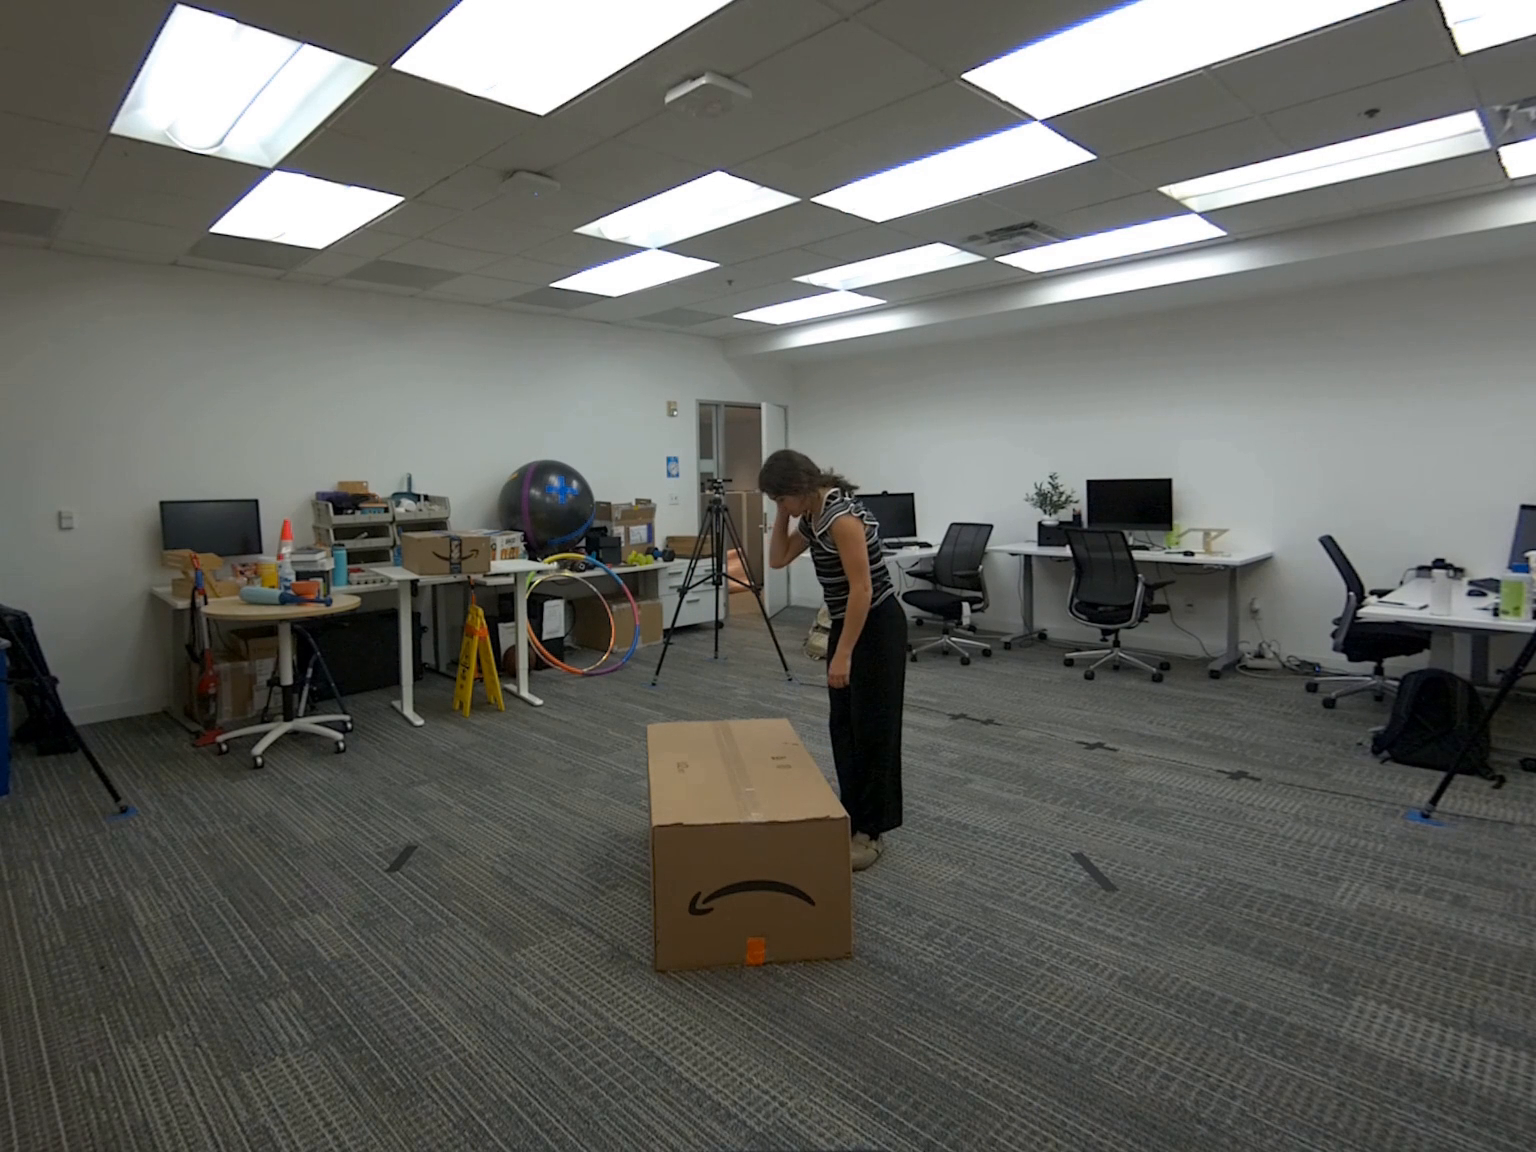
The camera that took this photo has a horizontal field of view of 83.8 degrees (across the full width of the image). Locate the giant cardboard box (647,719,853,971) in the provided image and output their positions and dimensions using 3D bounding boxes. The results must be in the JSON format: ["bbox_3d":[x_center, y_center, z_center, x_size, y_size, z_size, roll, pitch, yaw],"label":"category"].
[{"bbox_3d":[-0.122,0.853,2.947,0.574,0.424,1.038,-1,6,-8],"label":"giant cardboard box"}]
